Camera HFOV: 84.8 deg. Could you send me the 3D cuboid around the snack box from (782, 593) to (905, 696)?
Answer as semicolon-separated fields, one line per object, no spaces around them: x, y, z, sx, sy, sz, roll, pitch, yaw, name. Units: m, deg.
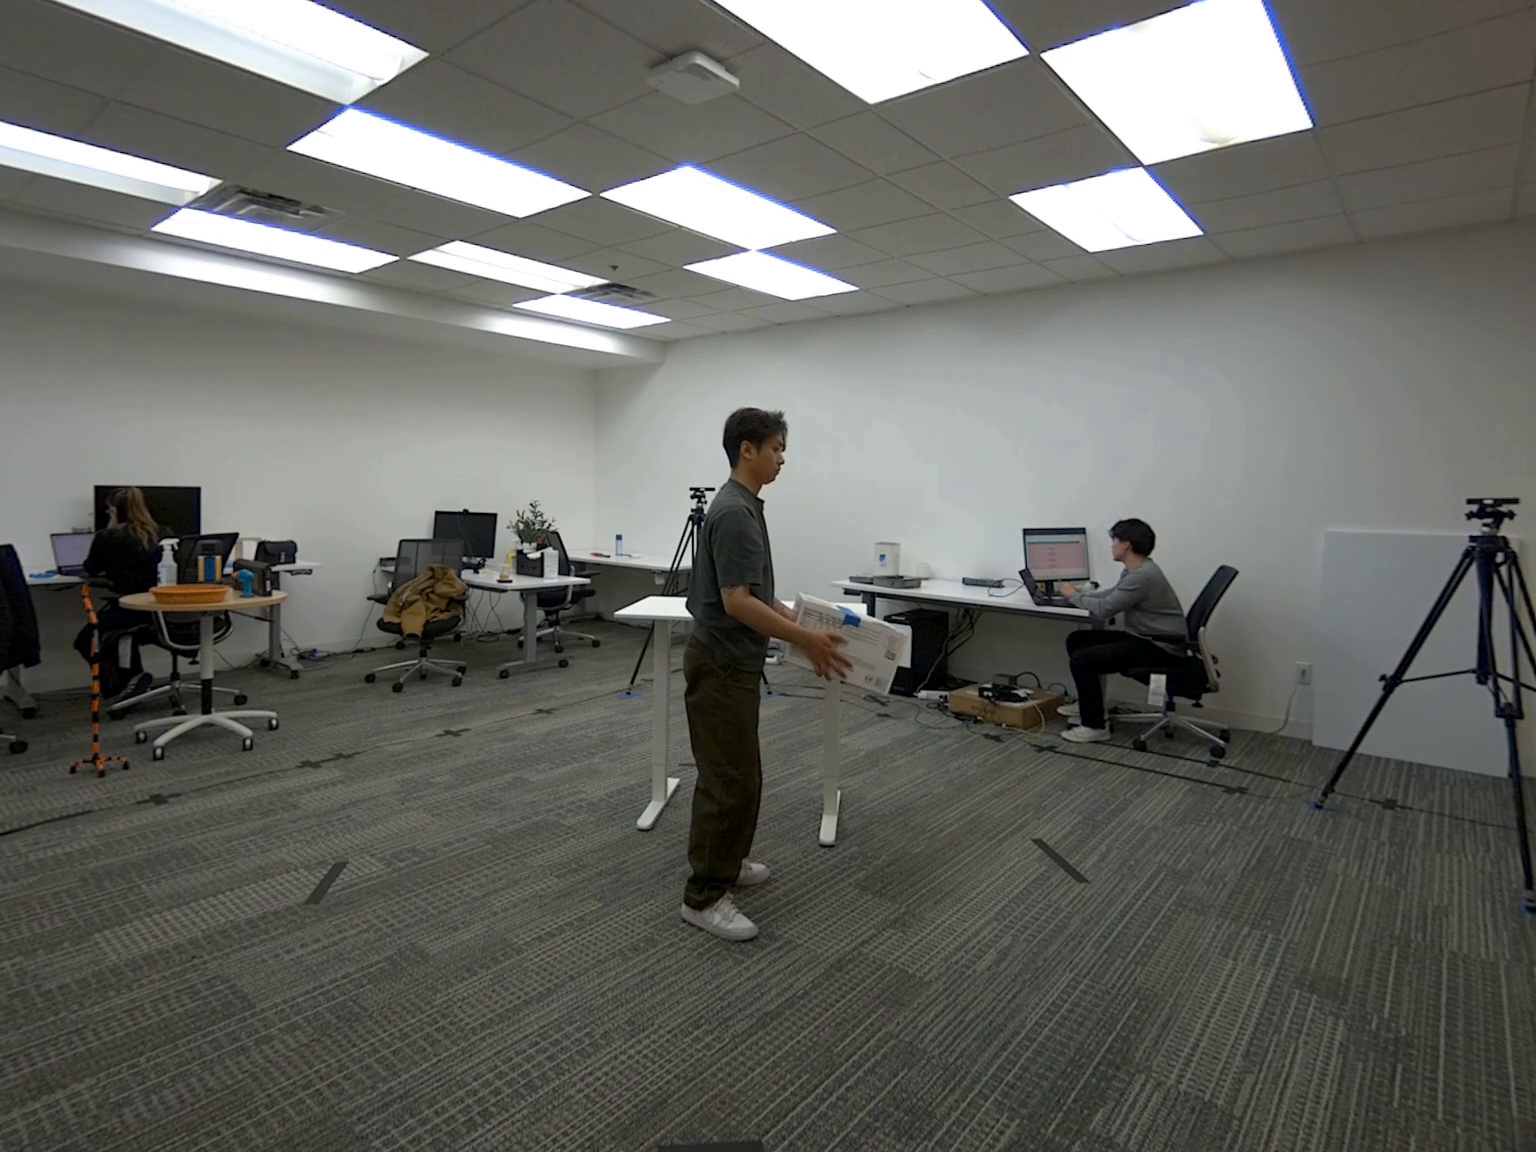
0.230;0.214;2.817;0.341;0.205;0.404;18;2;1;snack box
